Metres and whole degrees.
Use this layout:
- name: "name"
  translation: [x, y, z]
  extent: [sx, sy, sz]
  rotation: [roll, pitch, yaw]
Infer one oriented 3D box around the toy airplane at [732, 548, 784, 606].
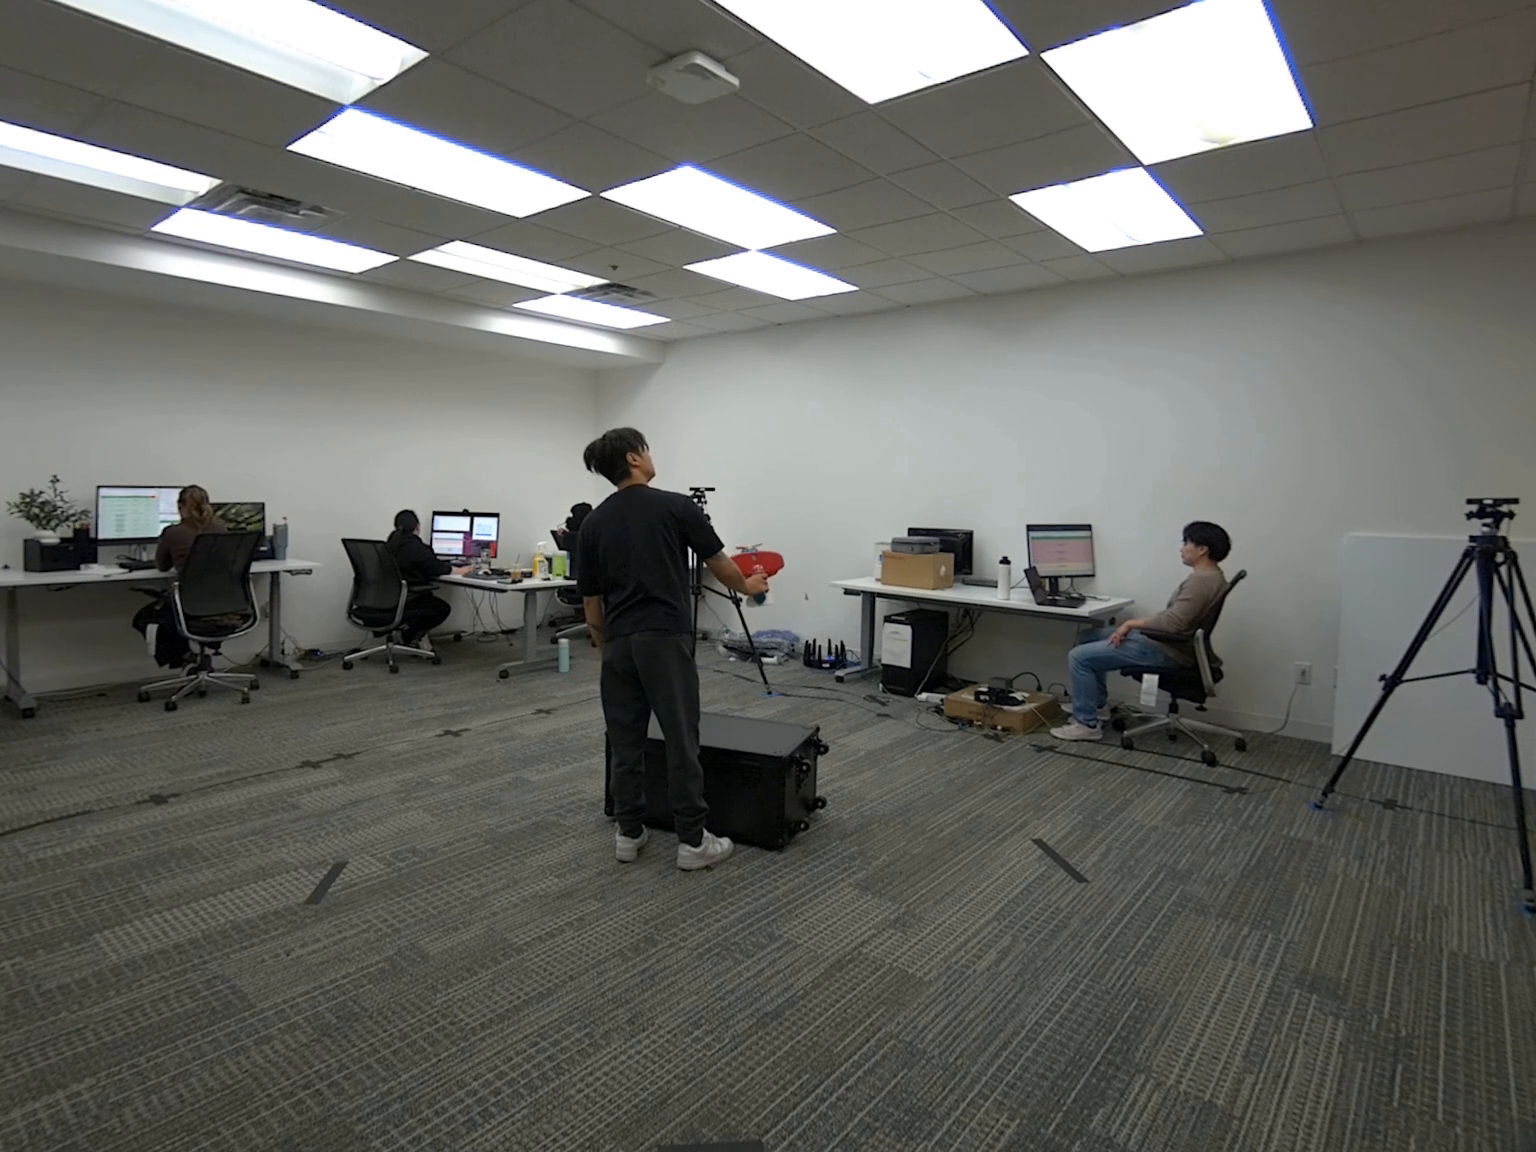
- name: "toy airplane"
  translation: [-0.060, -0.008, 3.548]
  extent: [0.248, 0.266, 0.154]
  rotation: [-34, -20, -33]
